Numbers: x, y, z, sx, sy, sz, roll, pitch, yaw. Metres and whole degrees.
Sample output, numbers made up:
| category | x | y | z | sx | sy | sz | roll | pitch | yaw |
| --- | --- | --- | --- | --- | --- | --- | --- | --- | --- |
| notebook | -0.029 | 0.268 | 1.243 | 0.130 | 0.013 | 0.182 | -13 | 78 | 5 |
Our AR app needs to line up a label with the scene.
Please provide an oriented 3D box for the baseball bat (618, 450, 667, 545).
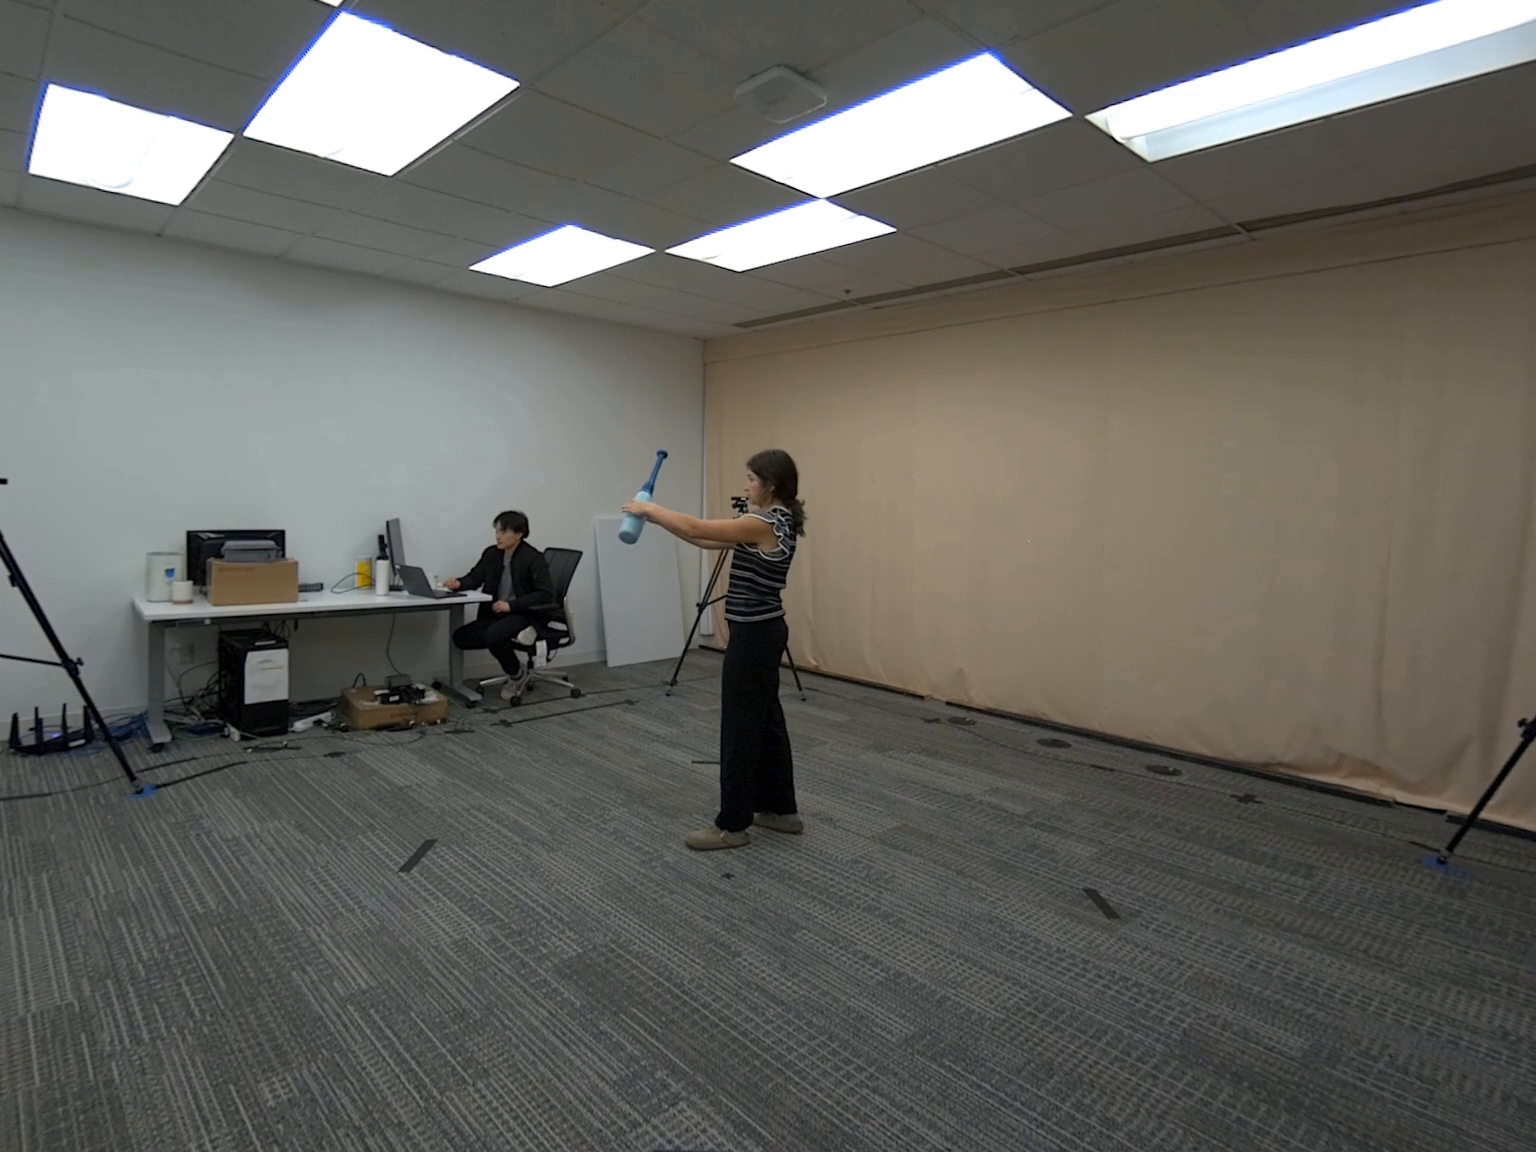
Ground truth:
| category | x | y | z | sx | sy | sz | roll | pitch | yaw |
| --- | --- | --- | --- | --- | --- | --- | --- | --- | --- |
| baseball bat | -0.529 | -0.354 | 3.623 | 0.089 | 0.551 | 0.087 | 9 | -39 | 6 |
